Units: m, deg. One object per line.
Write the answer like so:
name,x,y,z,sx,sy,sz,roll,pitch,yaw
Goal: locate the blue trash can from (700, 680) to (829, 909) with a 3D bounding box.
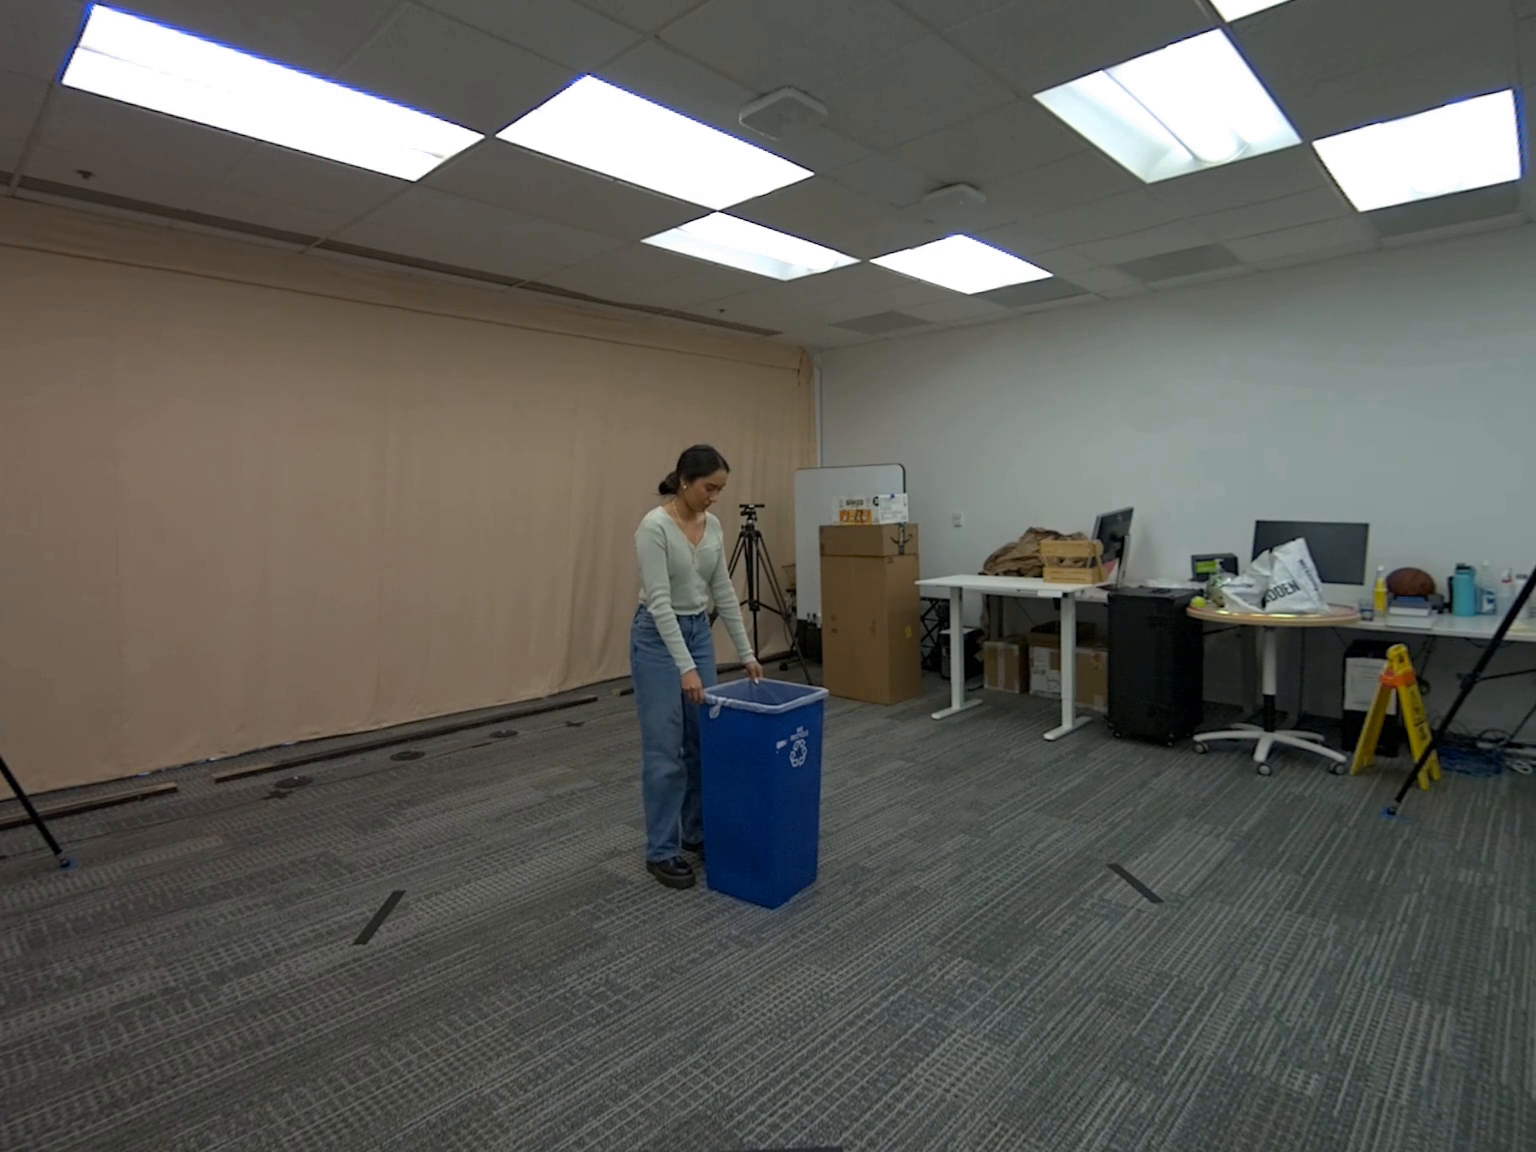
blue trash can,-0.019,0.771,3.076,0.390,0.712,0.363,3,5,36
